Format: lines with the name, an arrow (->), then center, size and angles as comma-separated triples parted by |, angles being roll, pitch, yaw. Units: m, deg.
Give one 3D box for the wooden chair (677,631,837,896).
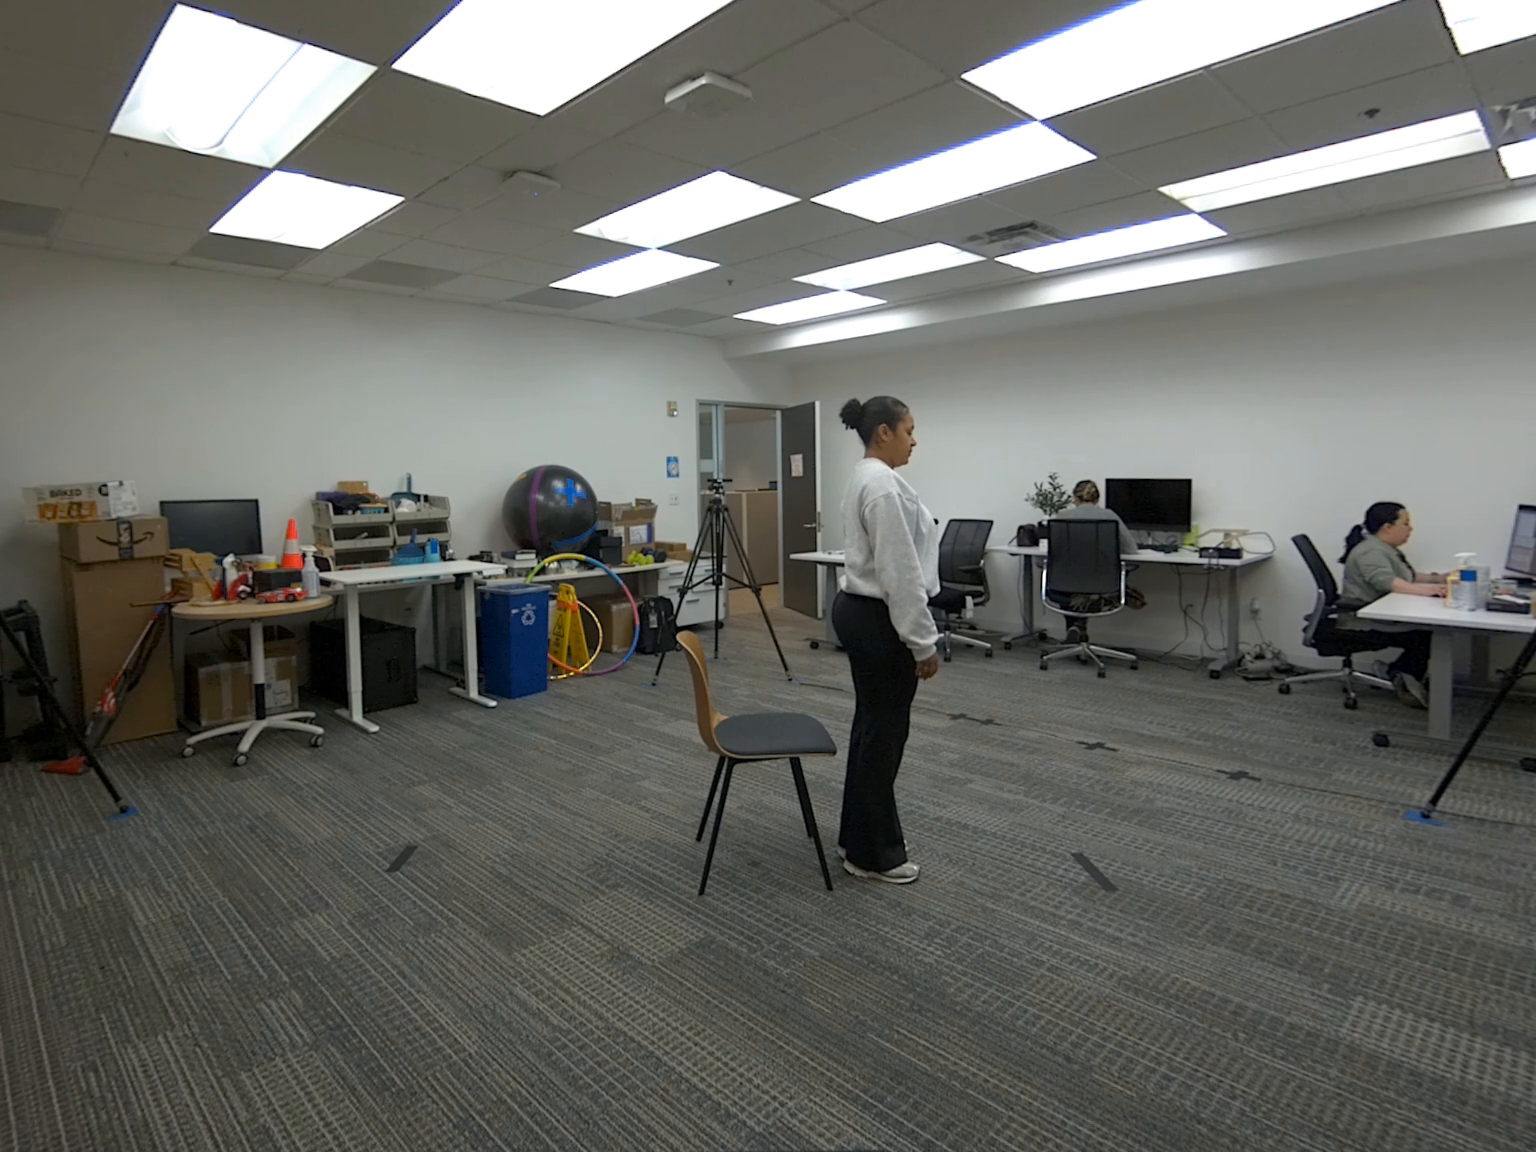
wooden chair -> -0.029, 0.617, 3.070 | 0.521, 0.874, 0.482 | -5, 4, -5
